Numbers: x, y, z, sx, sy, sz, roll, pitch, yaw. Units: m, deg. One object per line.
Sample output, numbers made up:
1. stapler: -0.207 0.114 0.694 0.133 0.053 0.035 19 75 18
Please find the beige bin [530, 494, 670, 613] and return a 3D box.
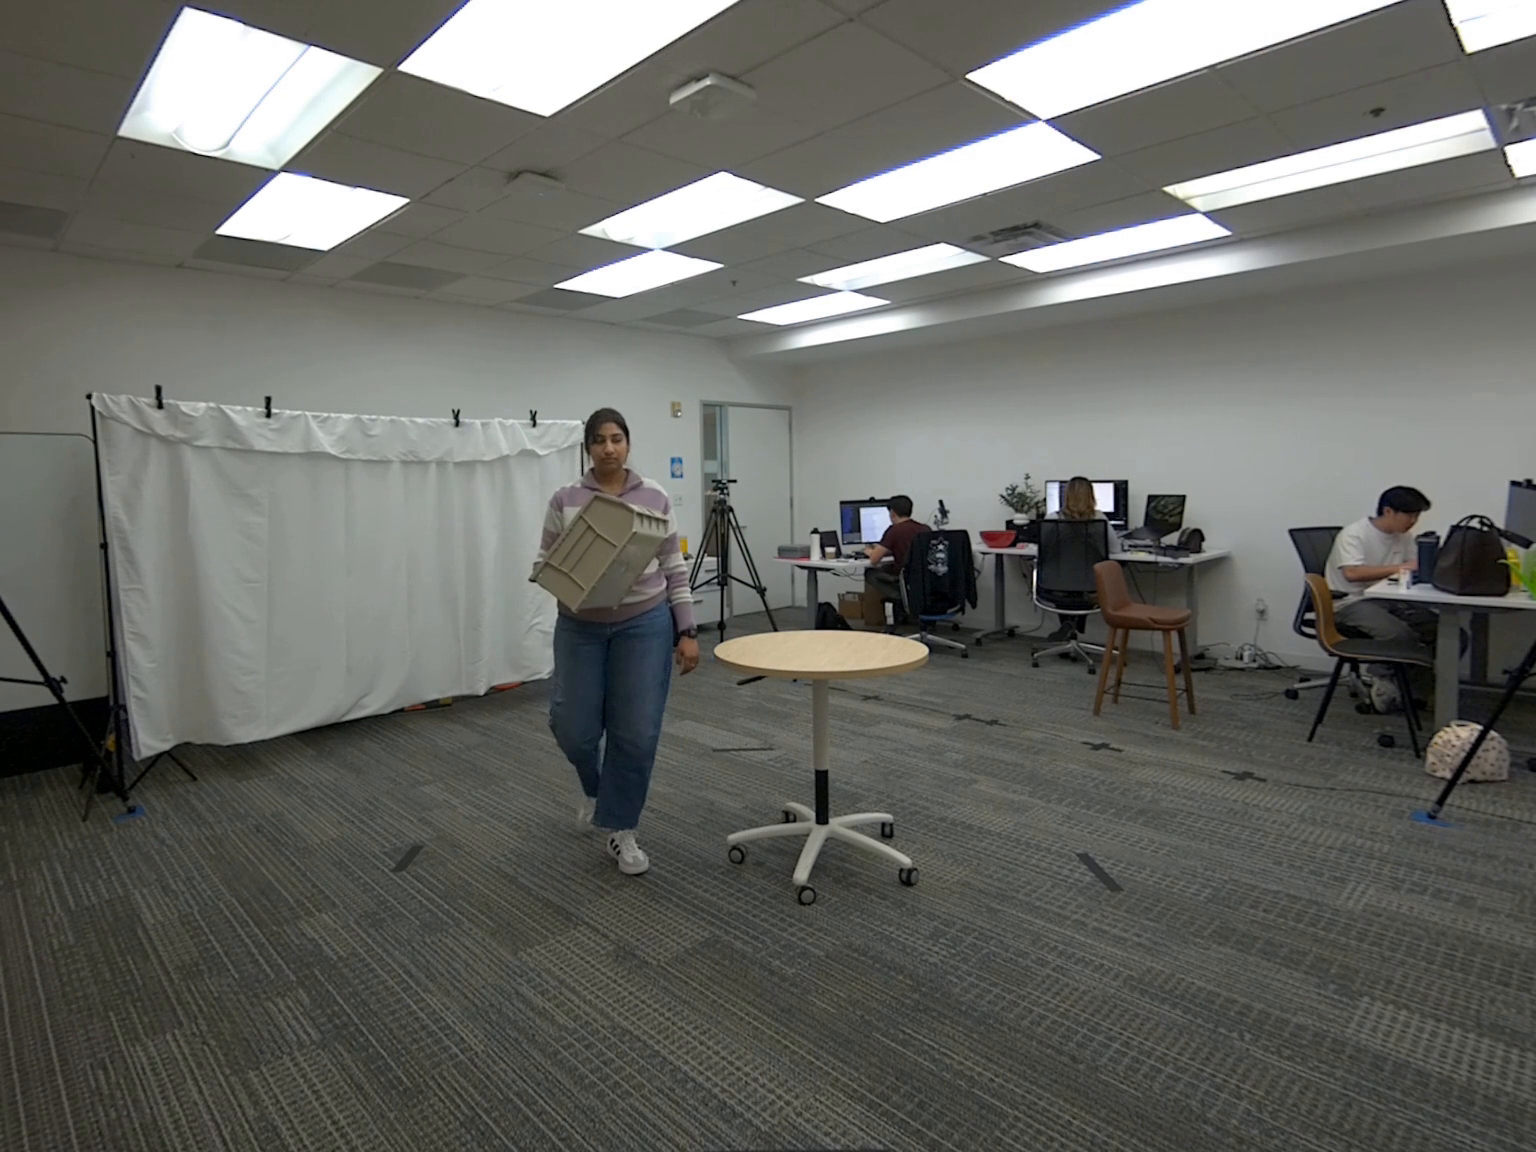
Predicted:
1. beige bin: -0.526 -0.077 2.800 0.191 0.377 0.417 37 5 8
